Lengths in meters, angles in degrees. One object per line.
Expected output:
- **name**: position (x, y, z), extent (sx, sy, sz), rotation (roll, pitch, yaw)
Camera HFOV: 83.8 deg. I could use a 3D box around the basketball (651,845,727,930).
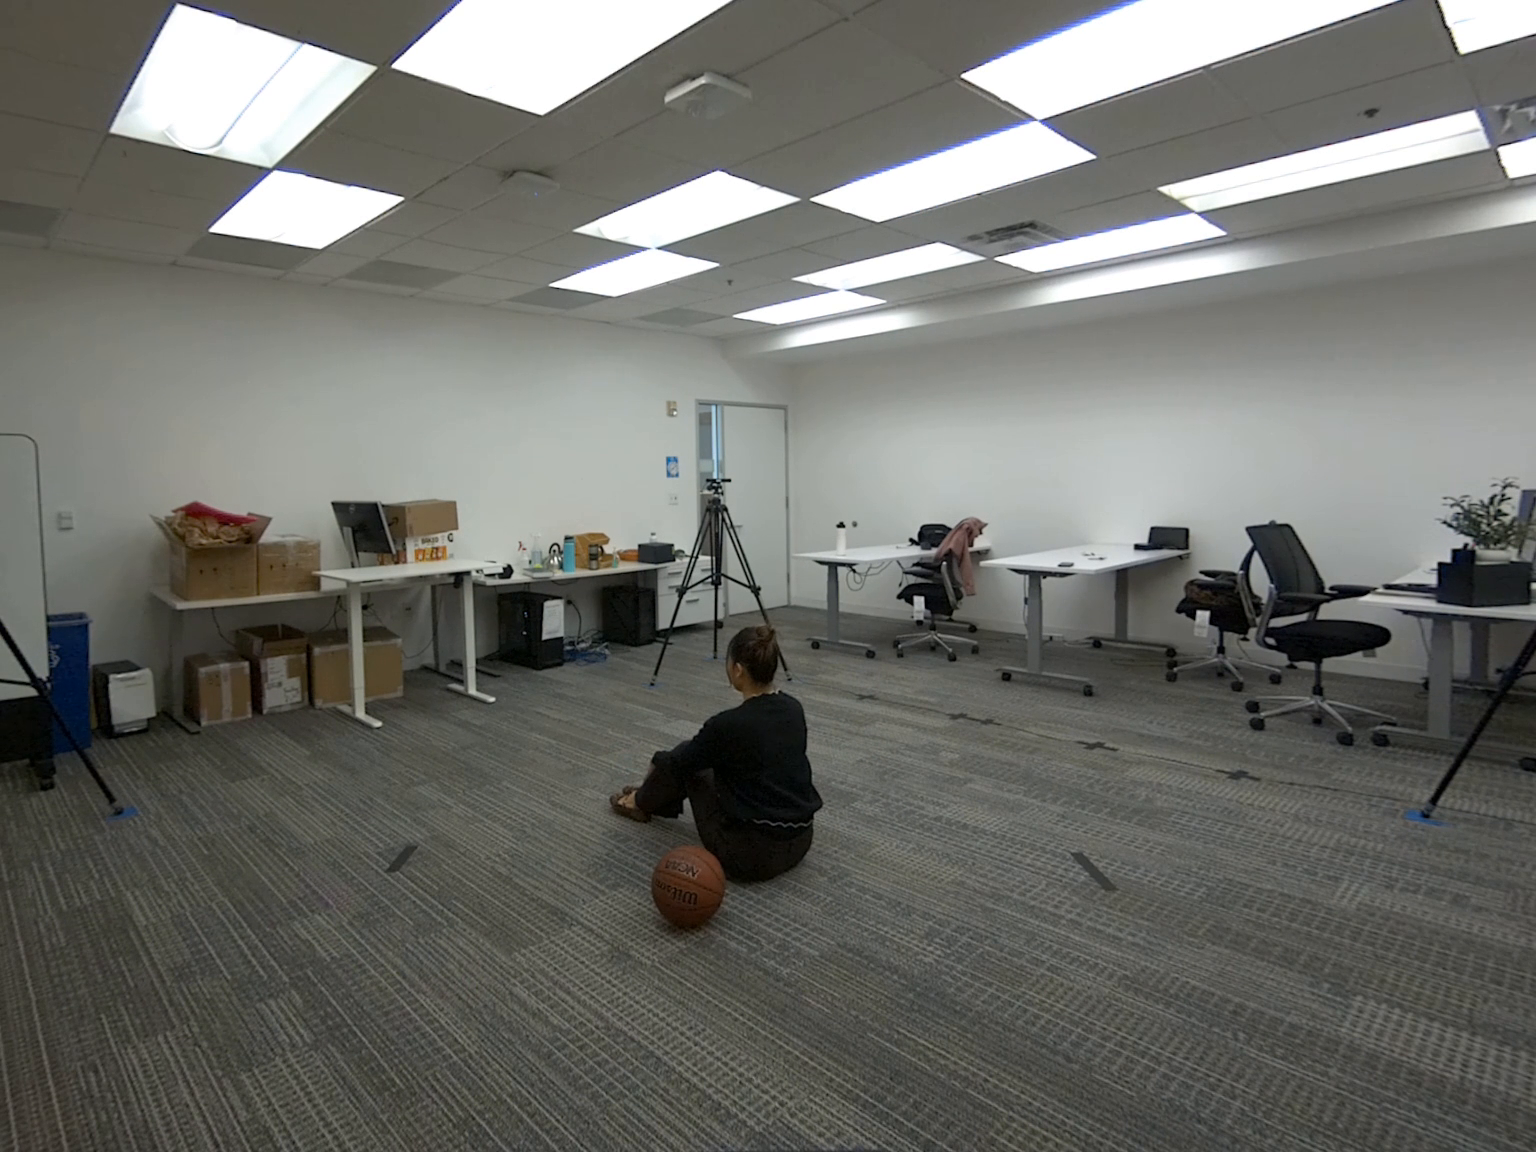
- **basketball**: position (-0.251, 0.982, 2.701), extent (0.236, 0.235, 0.237), rotation (-1, 5, -2)
